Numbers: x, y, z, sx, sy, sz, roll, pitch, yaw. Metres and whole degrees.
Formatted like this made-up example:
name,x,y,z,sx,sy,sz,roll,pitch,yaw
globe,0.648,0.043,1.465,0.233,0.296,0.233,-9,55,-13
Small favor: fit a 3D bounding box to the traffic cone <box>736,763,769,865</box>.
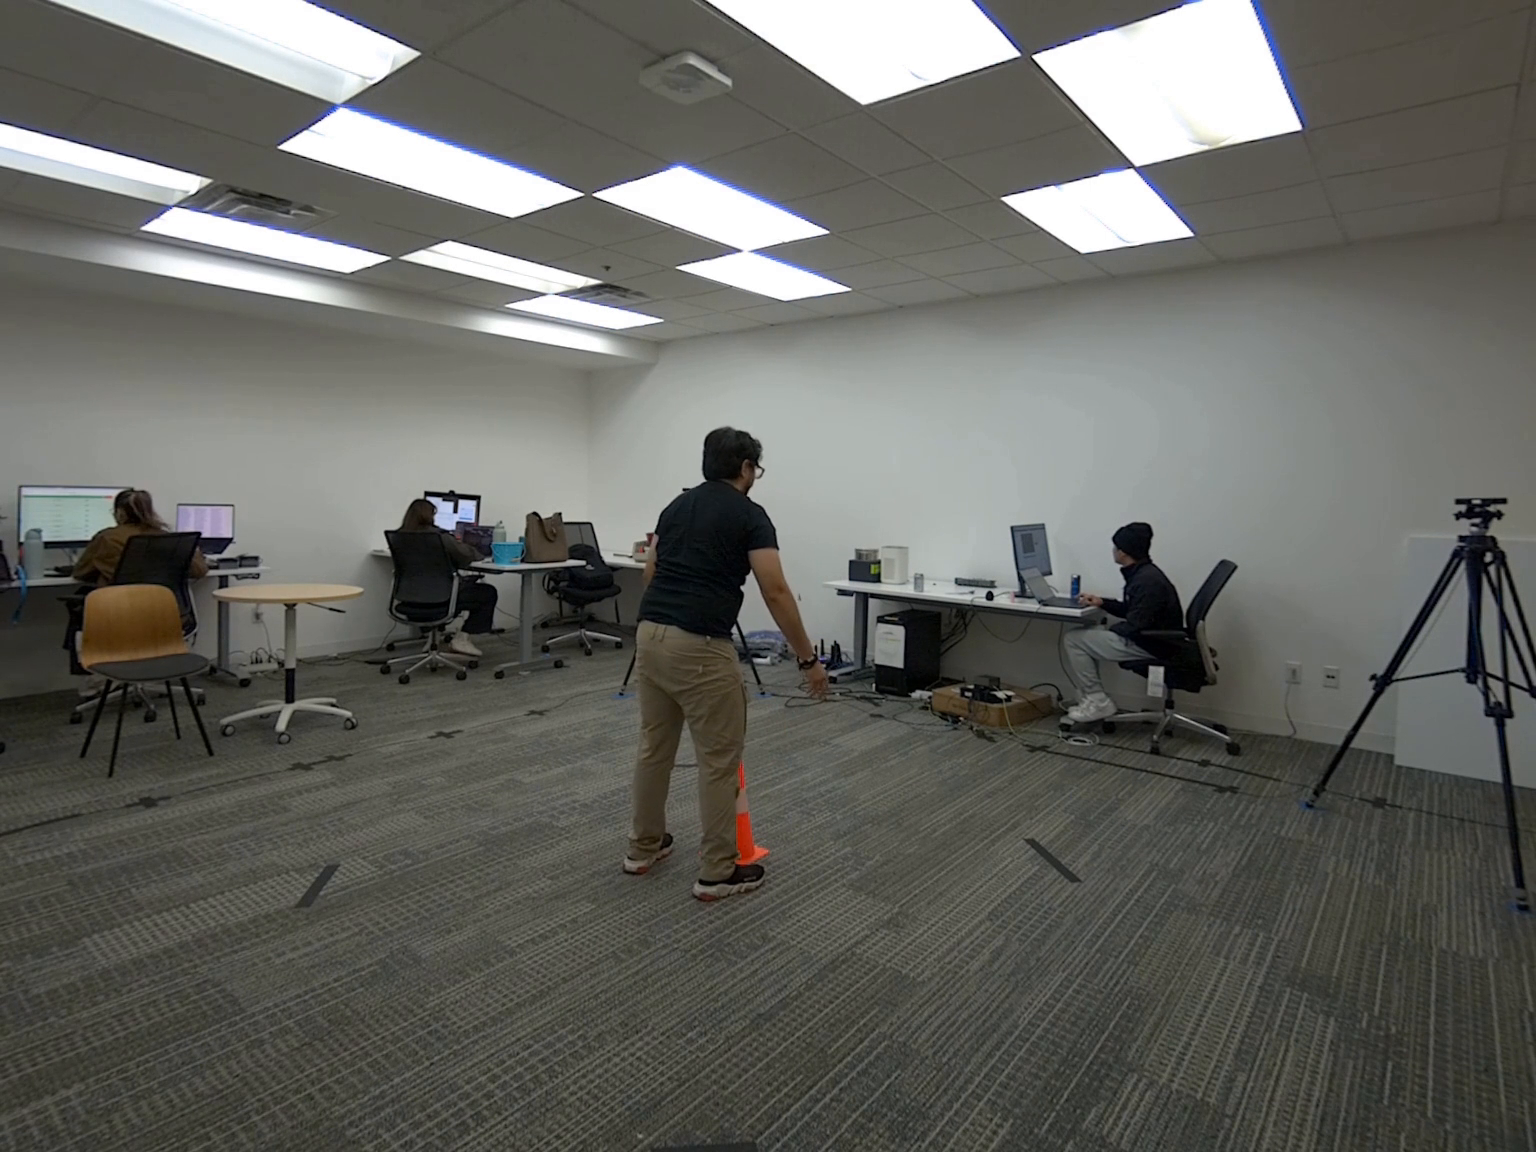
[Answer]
name,x,y,z,sx,sy,sz,roll,pitch,yaw
traffic cone,-0.137,0.871,3.254,0.197,0.383,0.212,-2,3,-44
